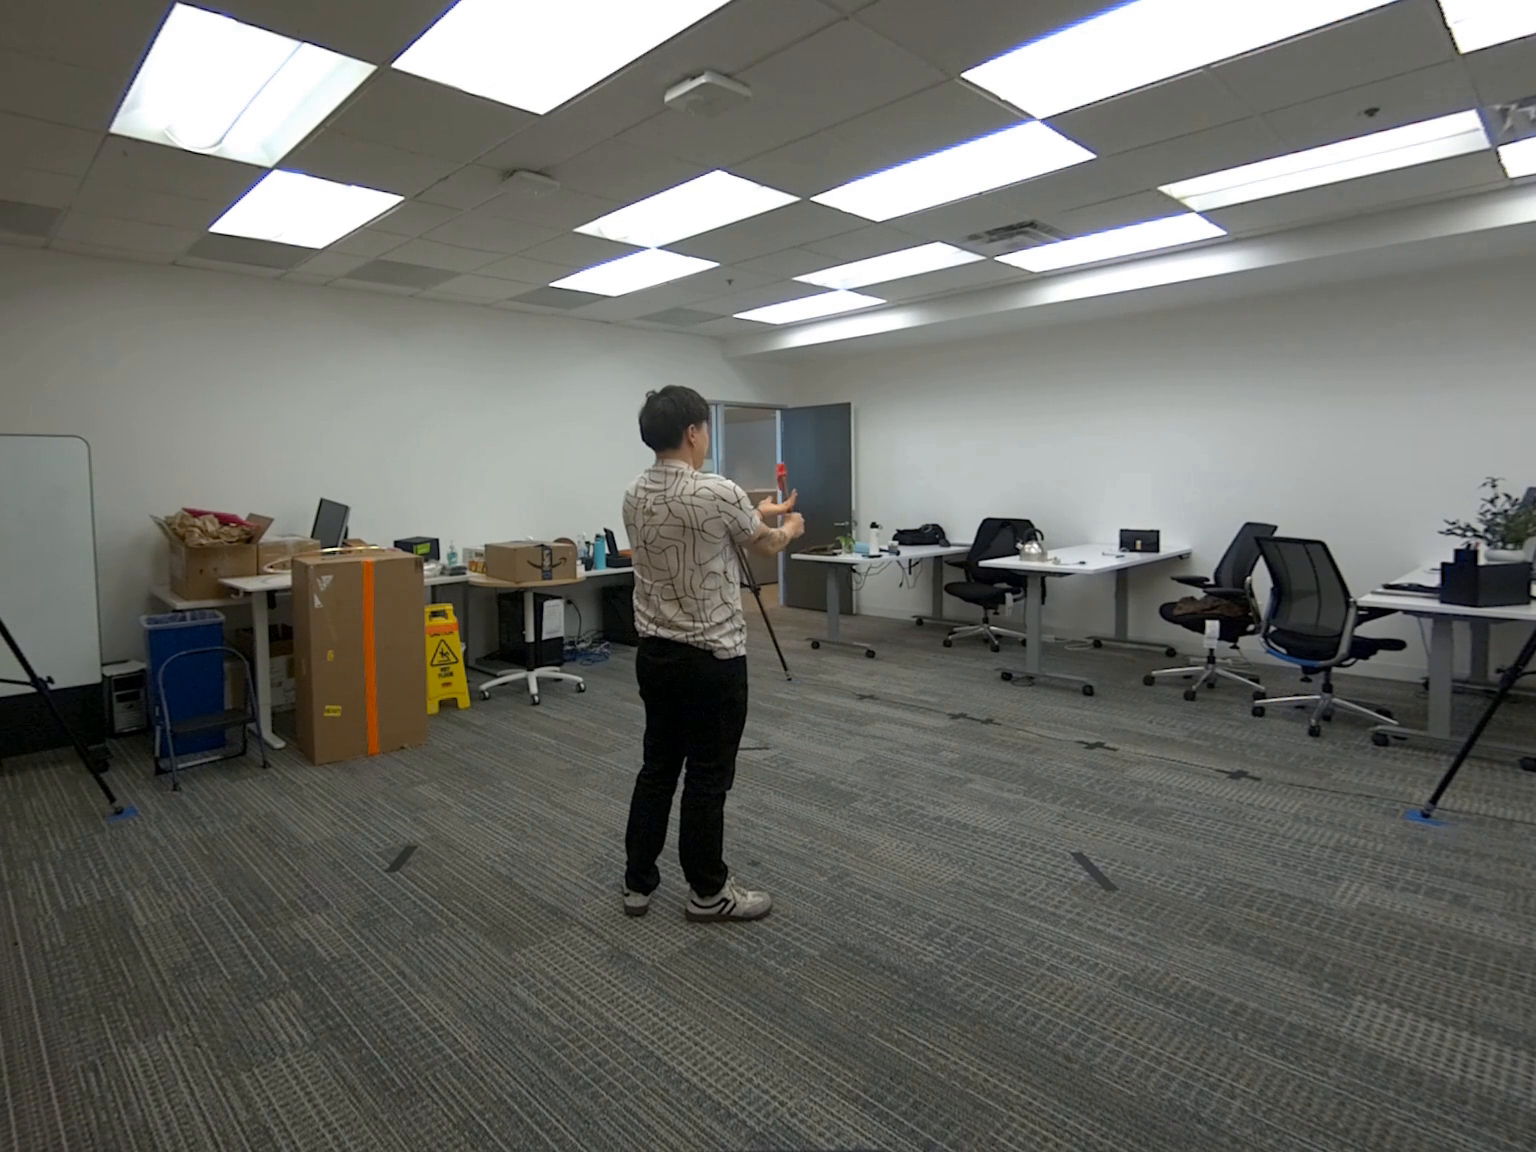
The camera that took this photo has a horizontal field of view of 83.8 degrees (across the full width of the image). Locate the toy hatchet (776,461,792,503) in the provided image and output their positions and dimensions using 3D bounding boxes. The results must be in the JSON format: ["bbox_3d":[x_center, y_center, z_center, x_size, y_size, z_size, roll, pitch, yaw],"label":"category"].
[{"bbox_3d":[0.062,-0.274,3.052,0.029,0.271,0.131,-6,-5,-10],"label":"toy hatchet"}]
